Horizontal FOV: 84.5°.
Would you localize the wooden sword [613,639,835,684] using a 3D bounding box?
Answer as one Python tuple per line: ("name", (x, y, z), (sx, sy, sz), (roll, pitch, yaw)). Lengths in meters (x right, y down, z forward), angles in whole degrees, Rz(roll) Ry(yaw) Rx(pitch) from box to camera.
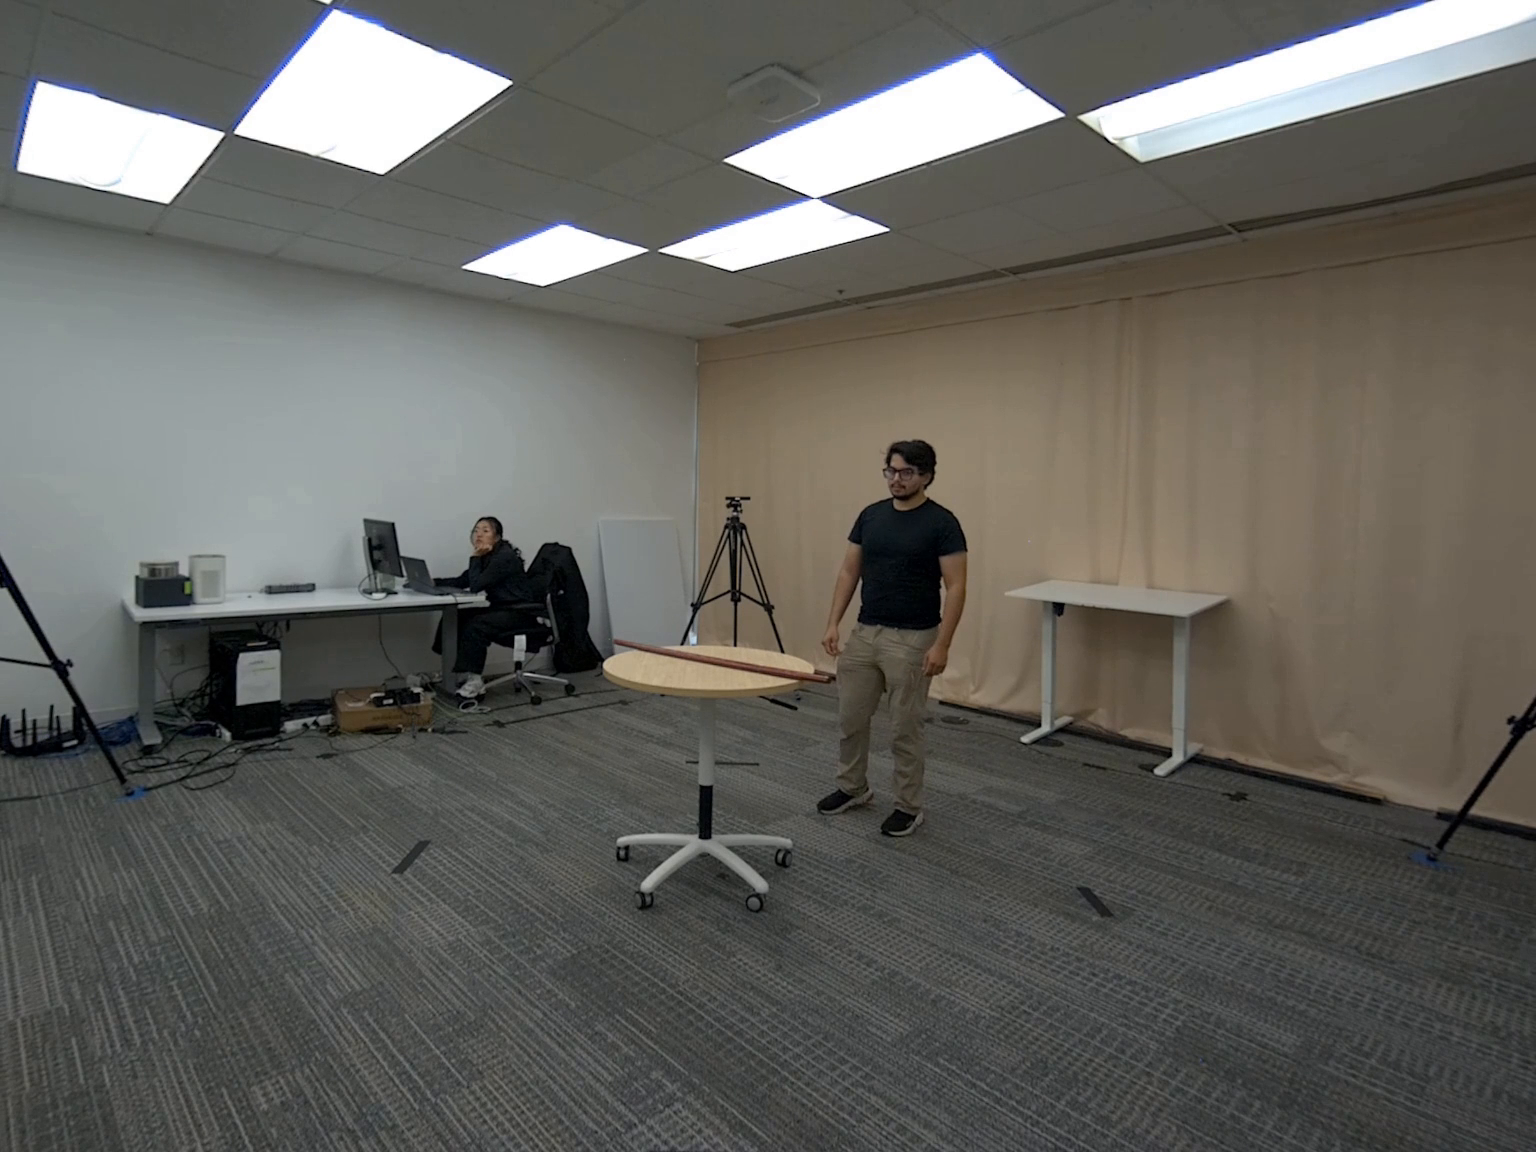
("wooden sword", (-0.217, 0.313, 3.109), (1.049, 0.052, 0.023), (5, -25, 35))
